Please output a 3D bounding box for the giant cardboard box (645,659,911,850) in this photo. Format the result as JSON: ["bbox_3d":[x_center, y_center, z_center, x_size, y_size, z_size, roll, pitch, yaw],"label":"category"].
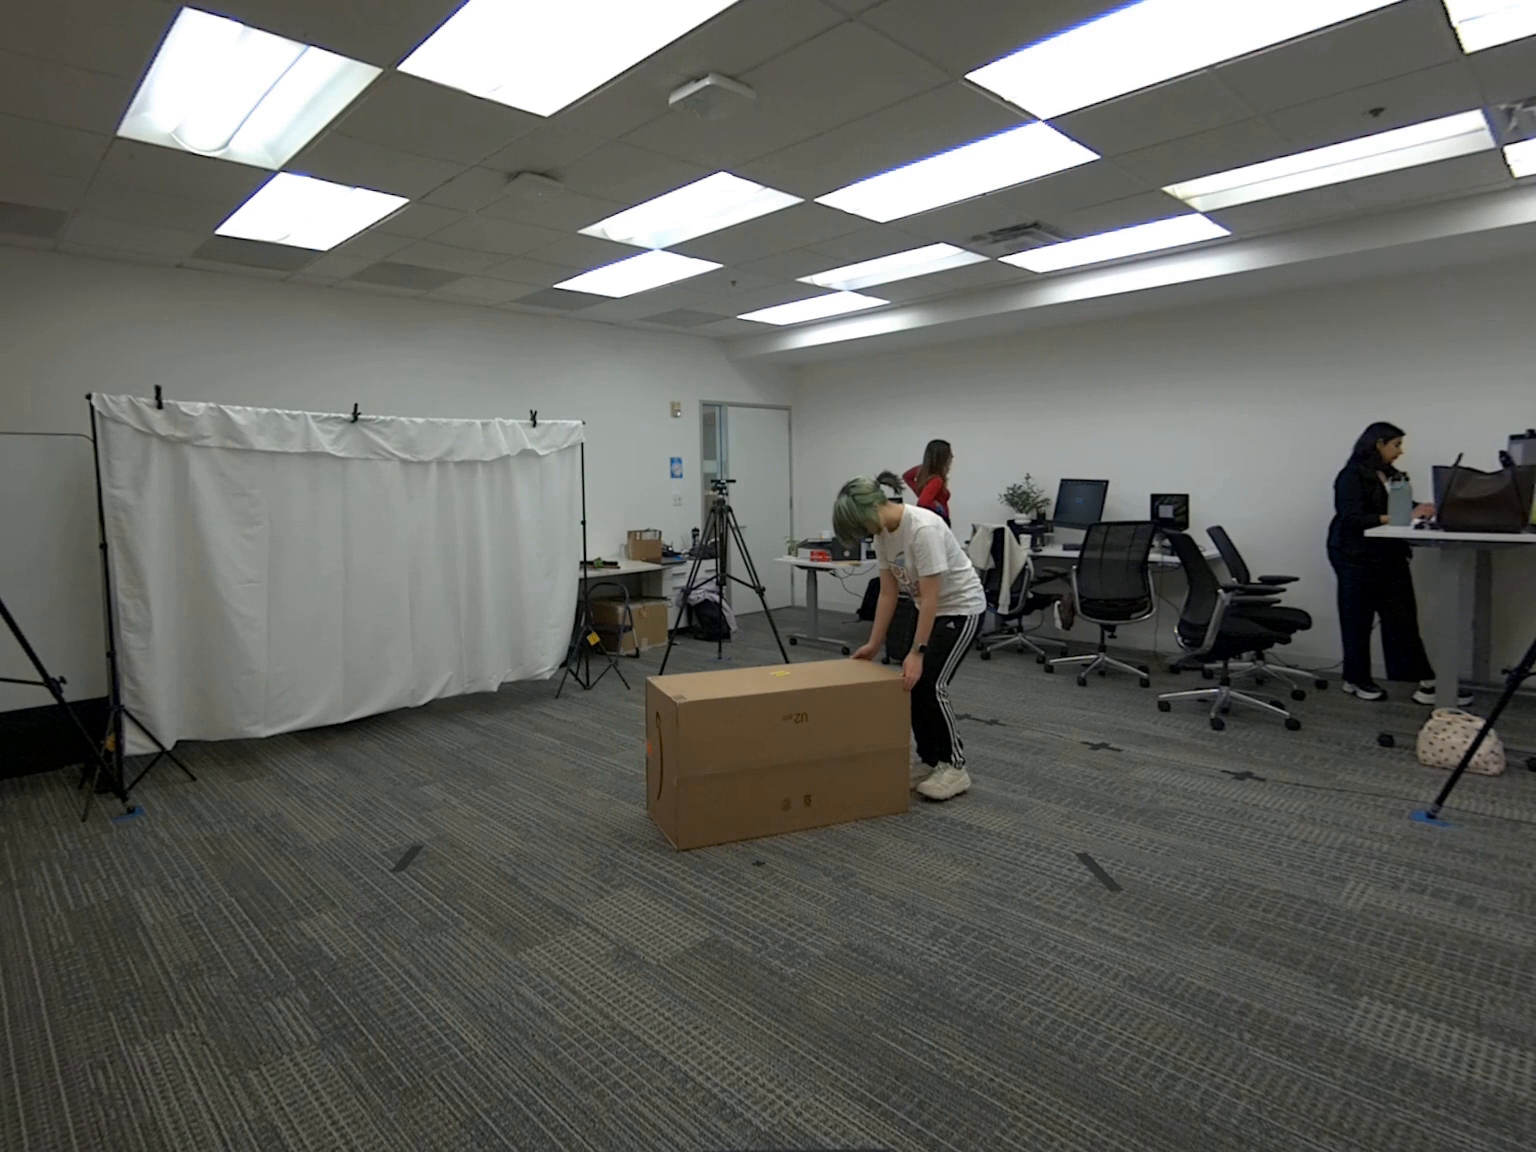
[{"bbox_3d":[0.037,0.705,3.573,1.007,0.582,0.457,-2,4,-22],"label":"giant cardboard box"}]
